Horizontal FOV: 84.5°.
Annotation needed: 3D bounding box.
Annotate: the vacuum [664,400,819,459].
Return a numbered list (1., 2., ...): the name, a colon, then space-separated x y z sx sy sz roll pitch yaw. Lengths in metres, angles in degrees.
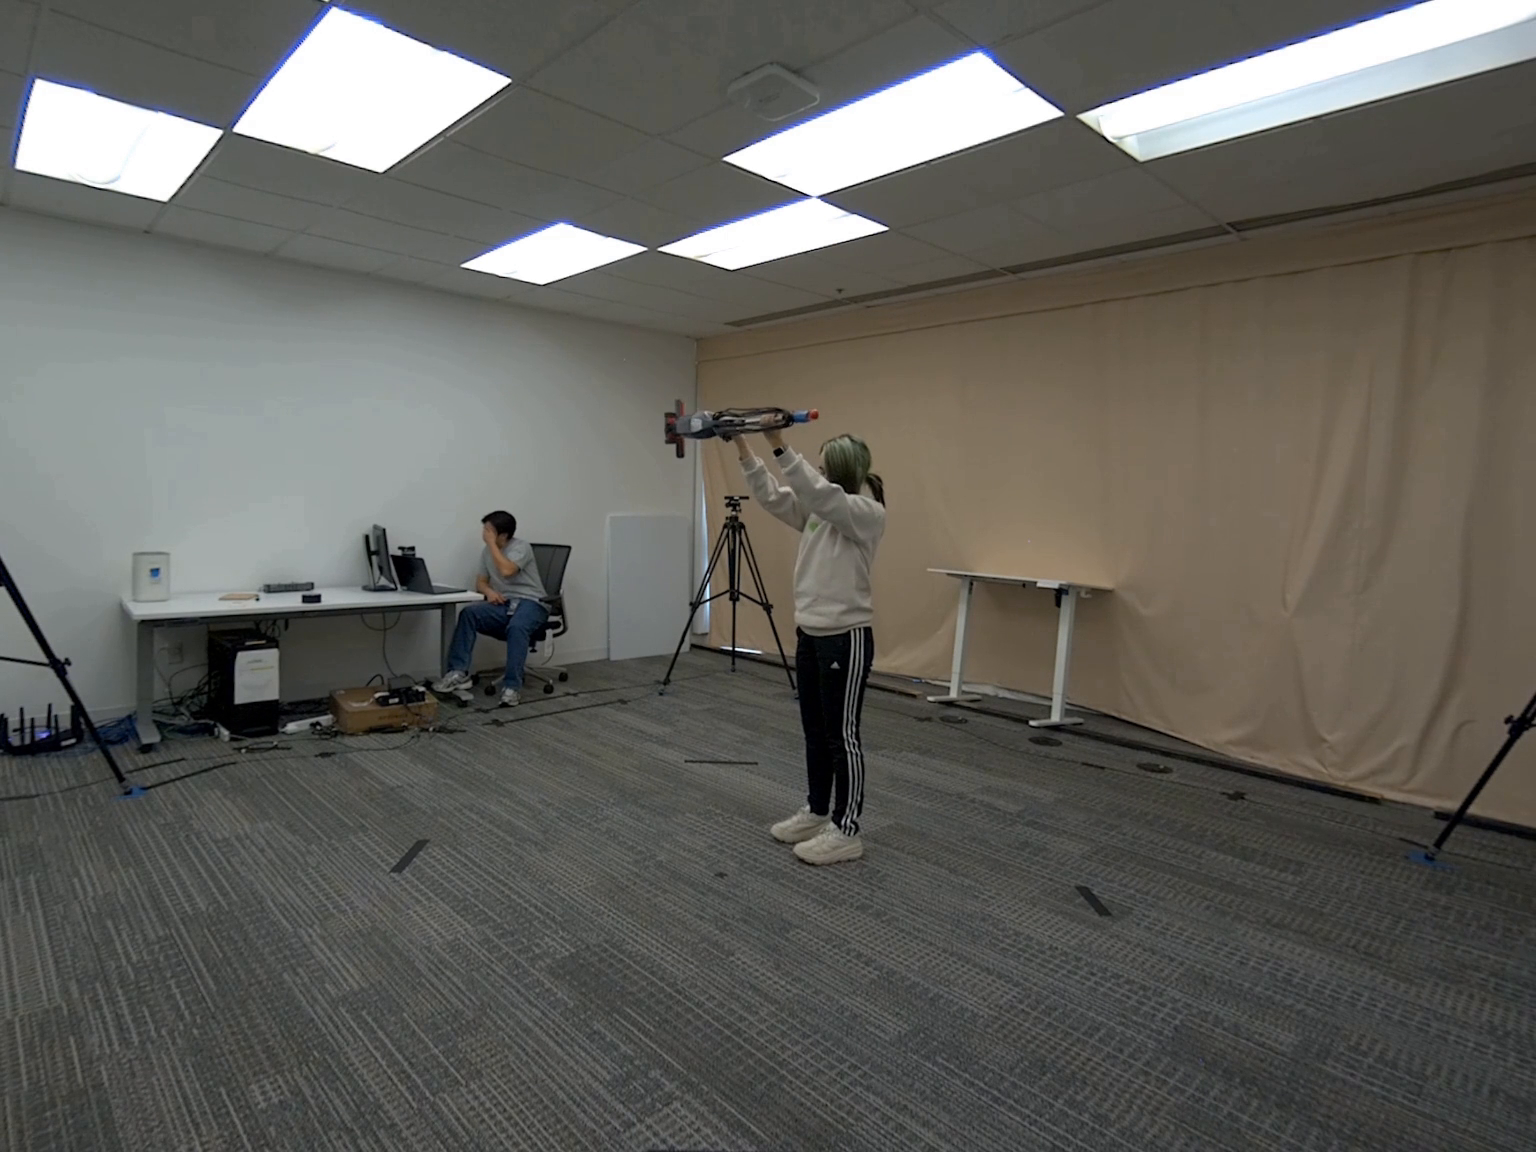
1. vacuum: -0.133 -0.572 3.150 0.141 0.251 1.074 -2 7 -29
